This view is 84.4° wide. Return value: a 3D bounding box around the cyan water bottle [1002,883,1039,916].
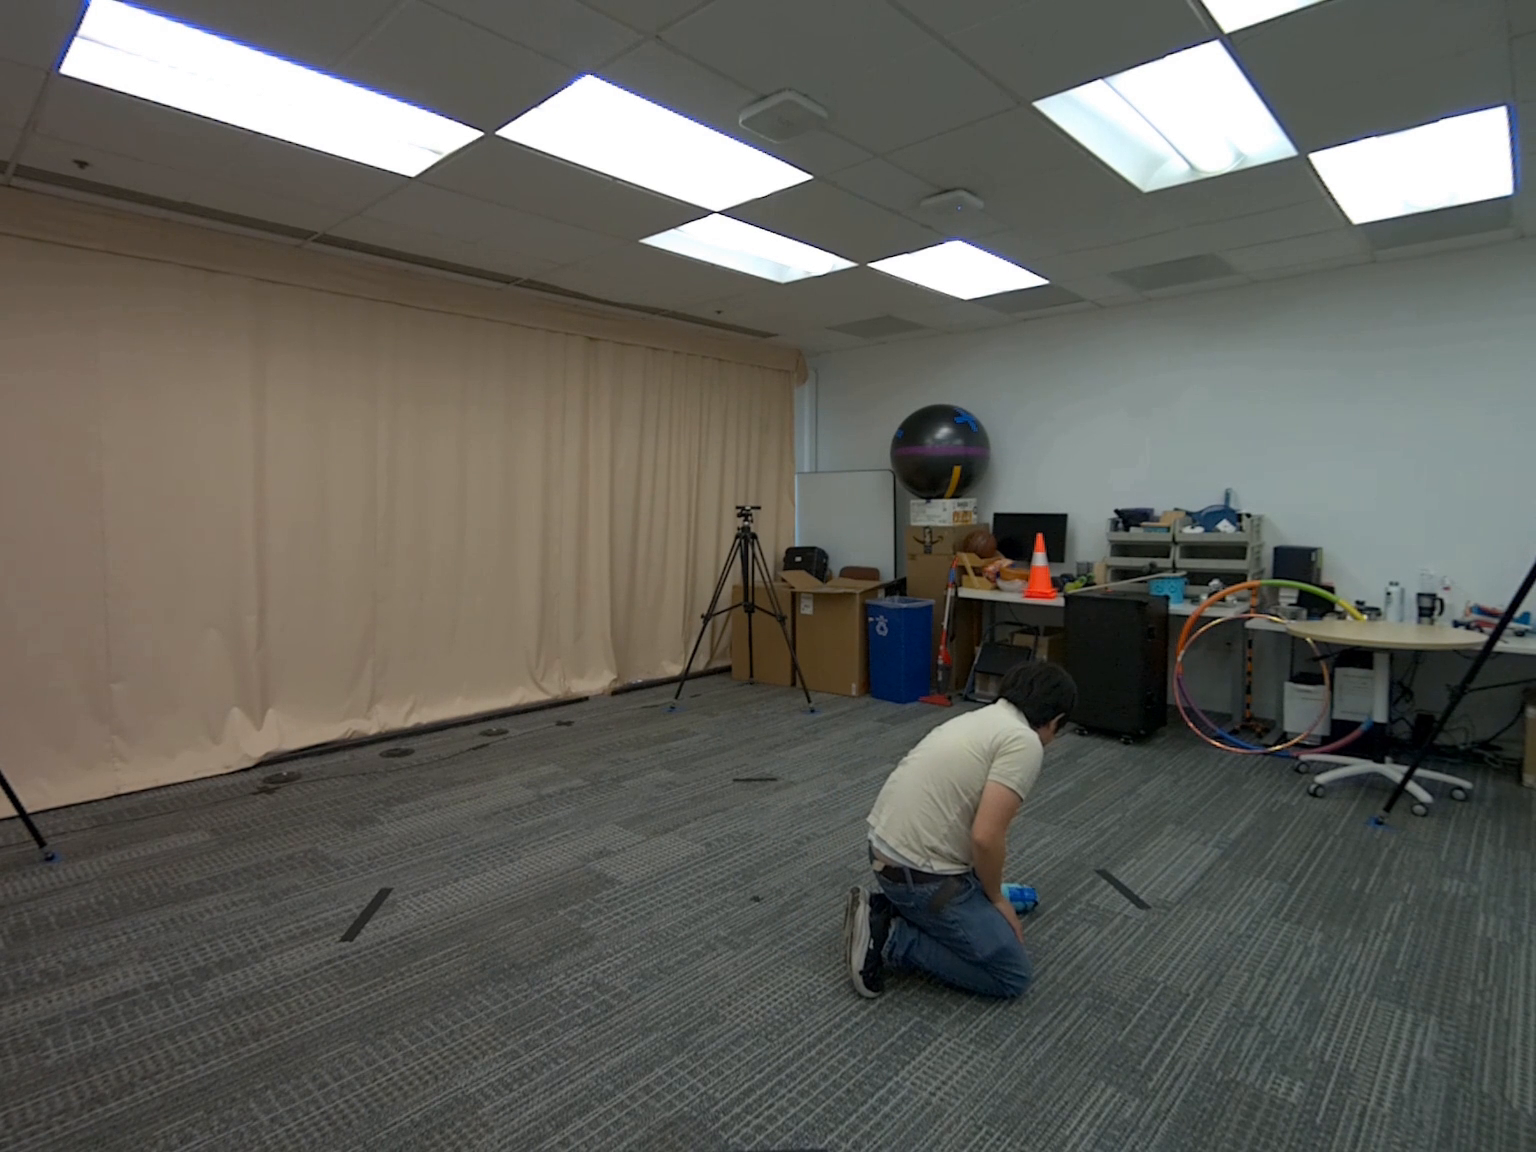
[{"bbox_3d":[0.794,1.103,2.896,0.285,0.092,0.092,2,4,7],"label":"cyan water bottle"}]
